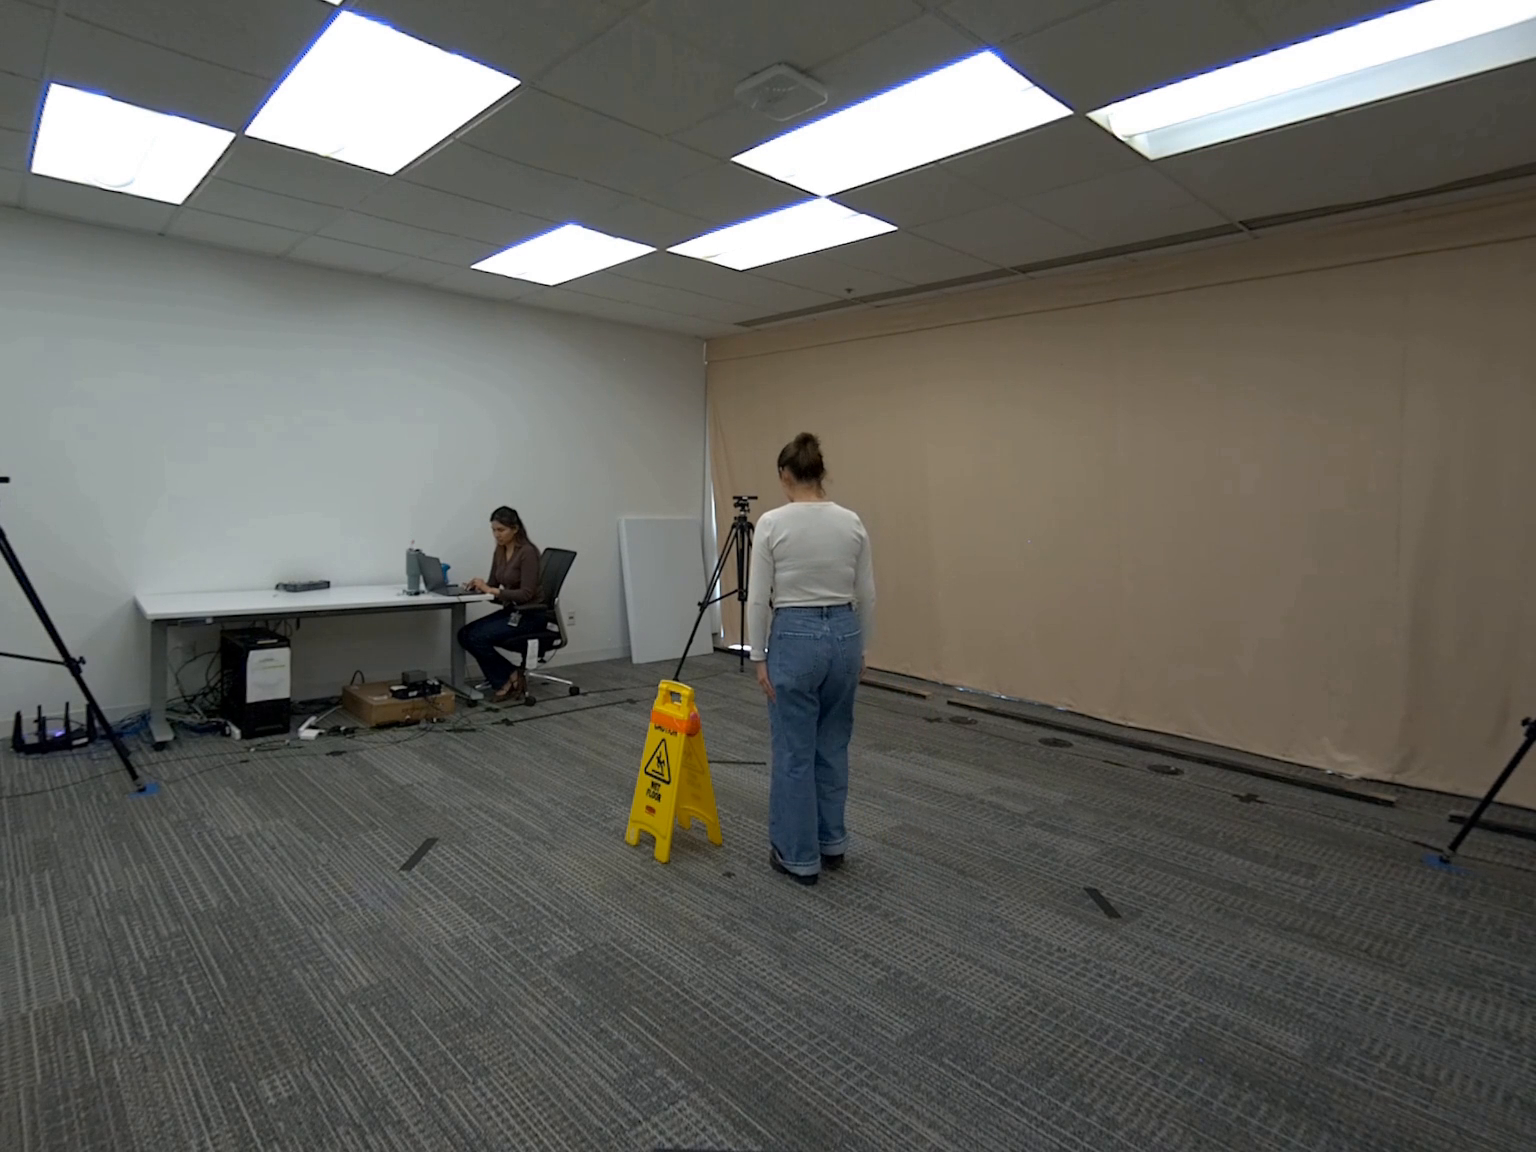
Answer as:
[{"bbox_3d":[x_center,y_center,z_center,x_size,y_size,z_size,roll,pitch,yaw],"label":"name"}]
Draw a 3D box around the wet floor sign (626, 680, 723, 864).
[{"bbox_3d":[-0.379,0.748,3.371,0.283,0.645,0.289,-1,4,-43],"label":"wet floor sign"}]
